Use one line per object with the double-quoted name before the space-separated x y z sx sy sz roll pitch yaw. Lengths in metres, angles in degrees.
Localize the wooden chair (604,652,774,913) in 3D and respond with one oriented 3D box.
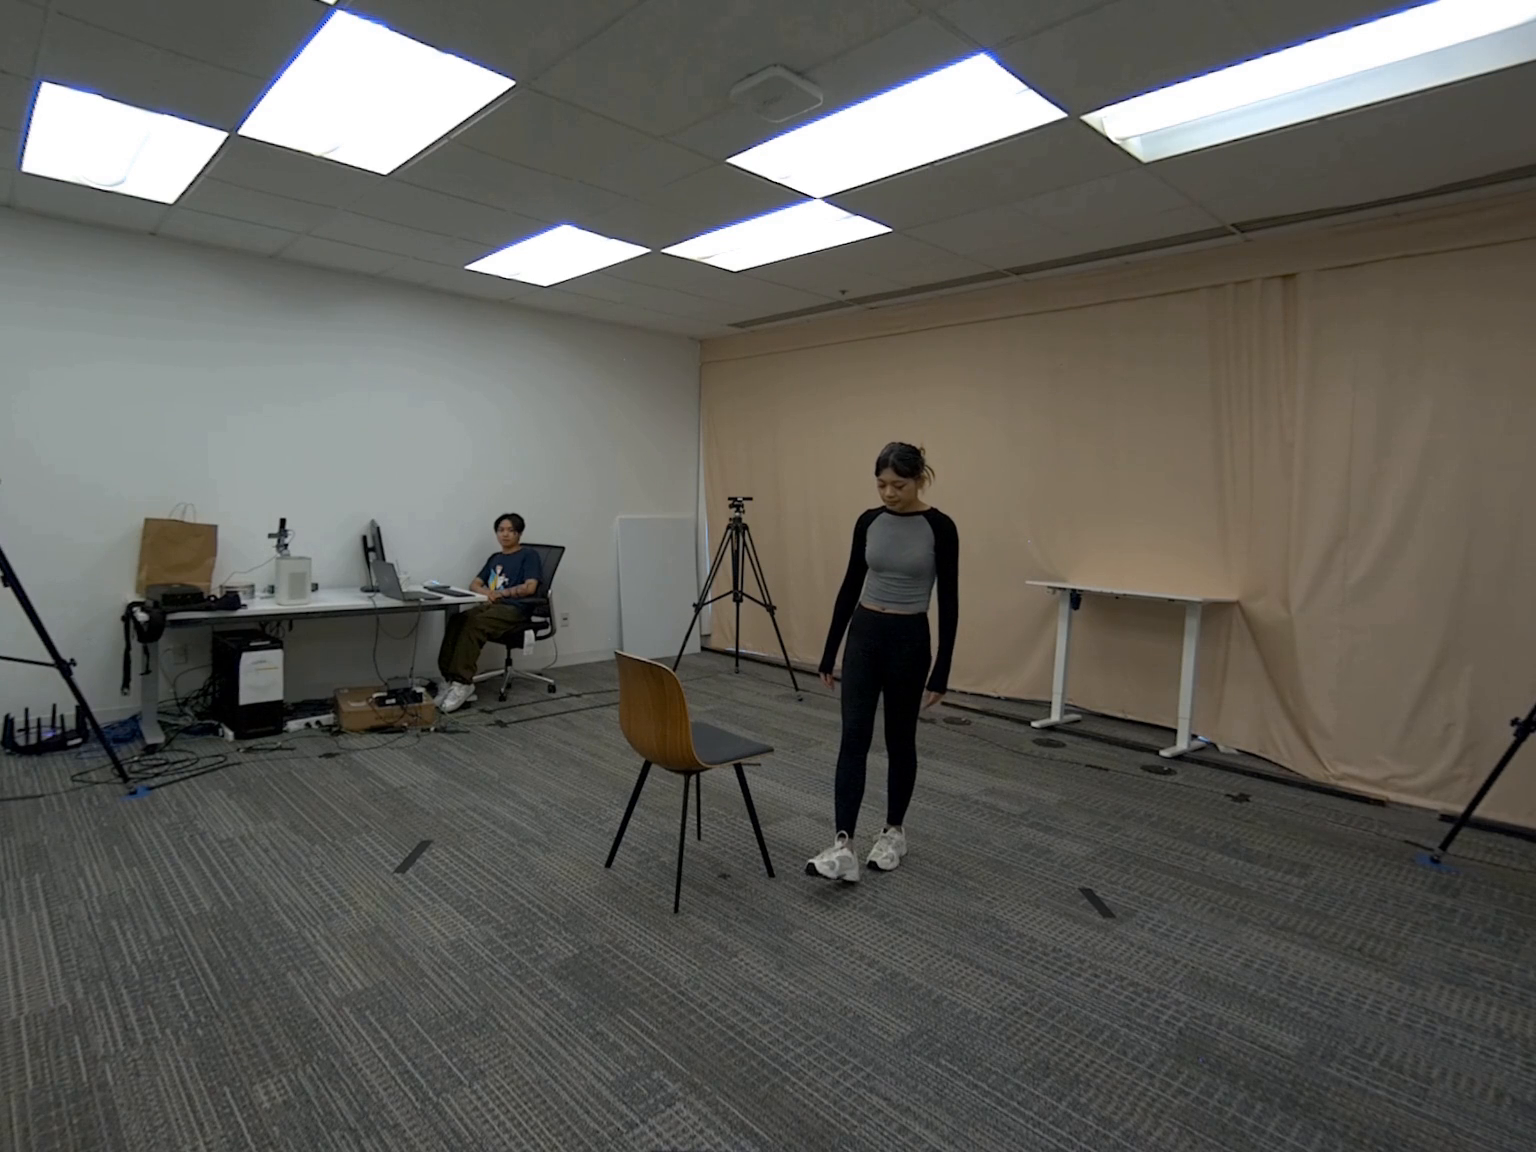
"wooden chair" -0.284 0.676 3.100 0.512 0.873 0.490 -7 8 -40
